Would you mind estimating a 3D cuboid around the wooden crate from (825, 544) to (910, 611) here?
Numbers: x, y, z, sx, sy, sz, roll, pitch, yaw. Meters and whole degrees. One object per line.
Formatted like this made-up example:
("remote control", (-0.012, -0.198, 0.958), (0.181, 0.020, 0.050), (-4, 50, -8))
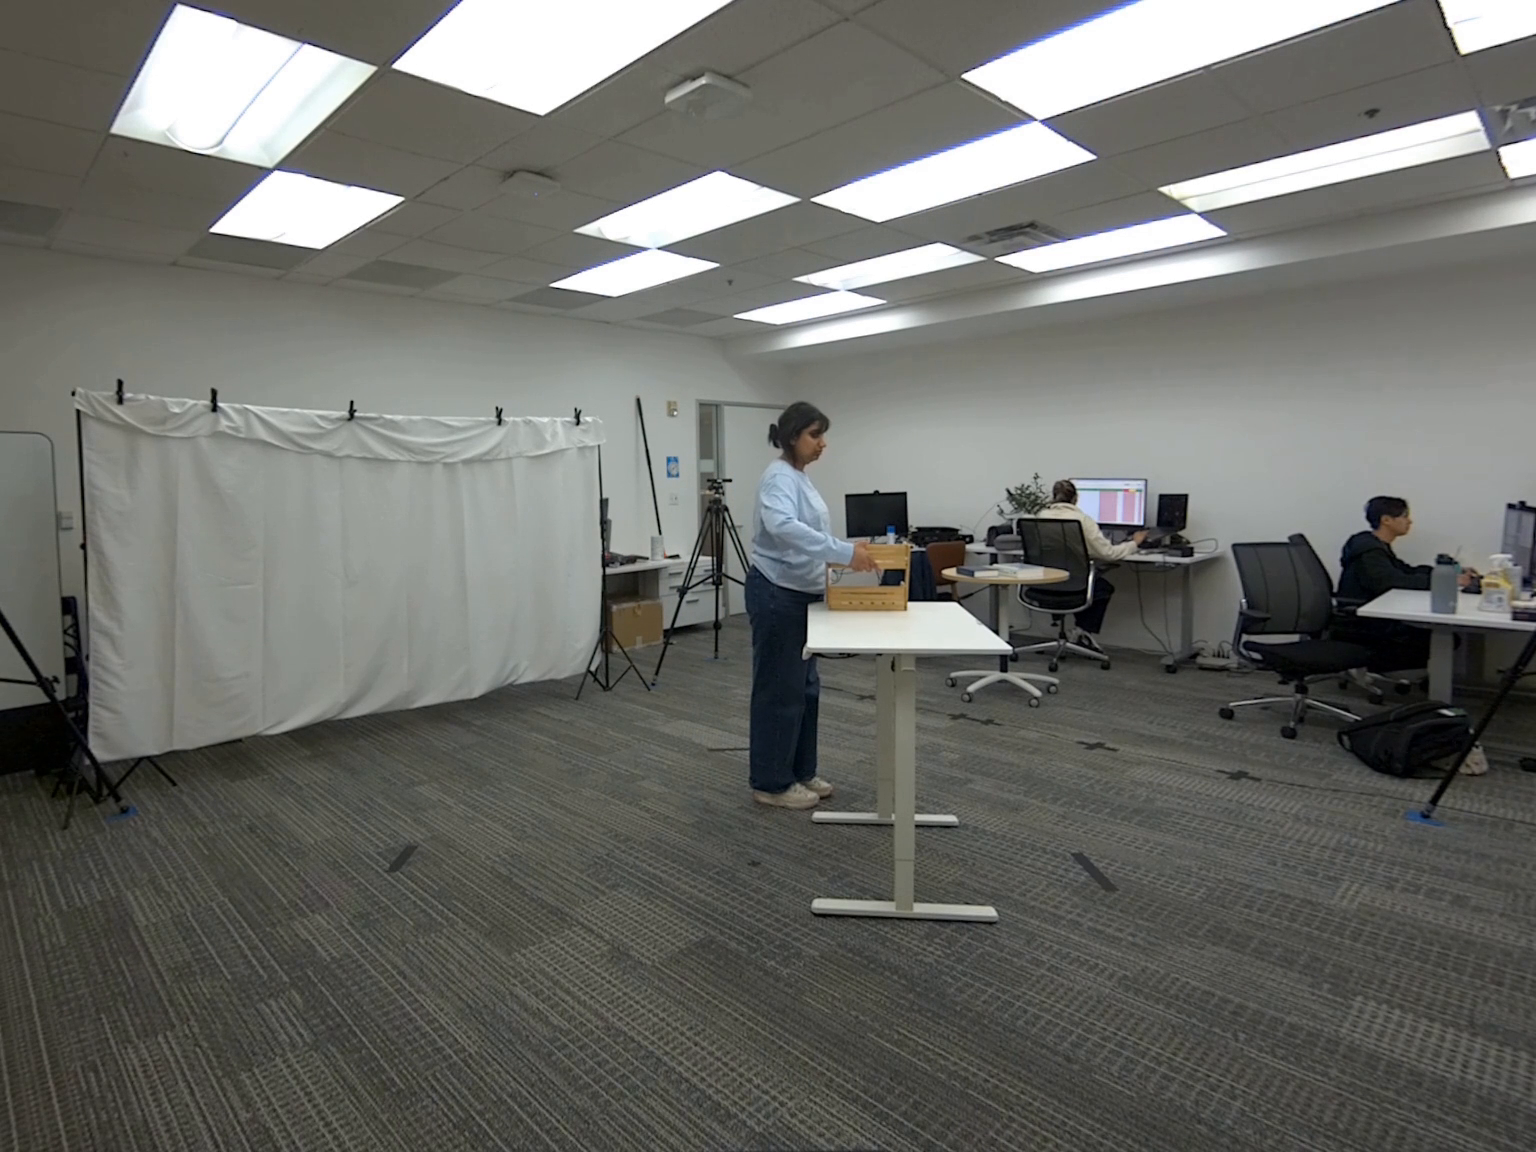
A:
("wooden crate", (0.404, -0.008, 3.400), (0.327, 0.272, 0.301), (0, 5, 6))
